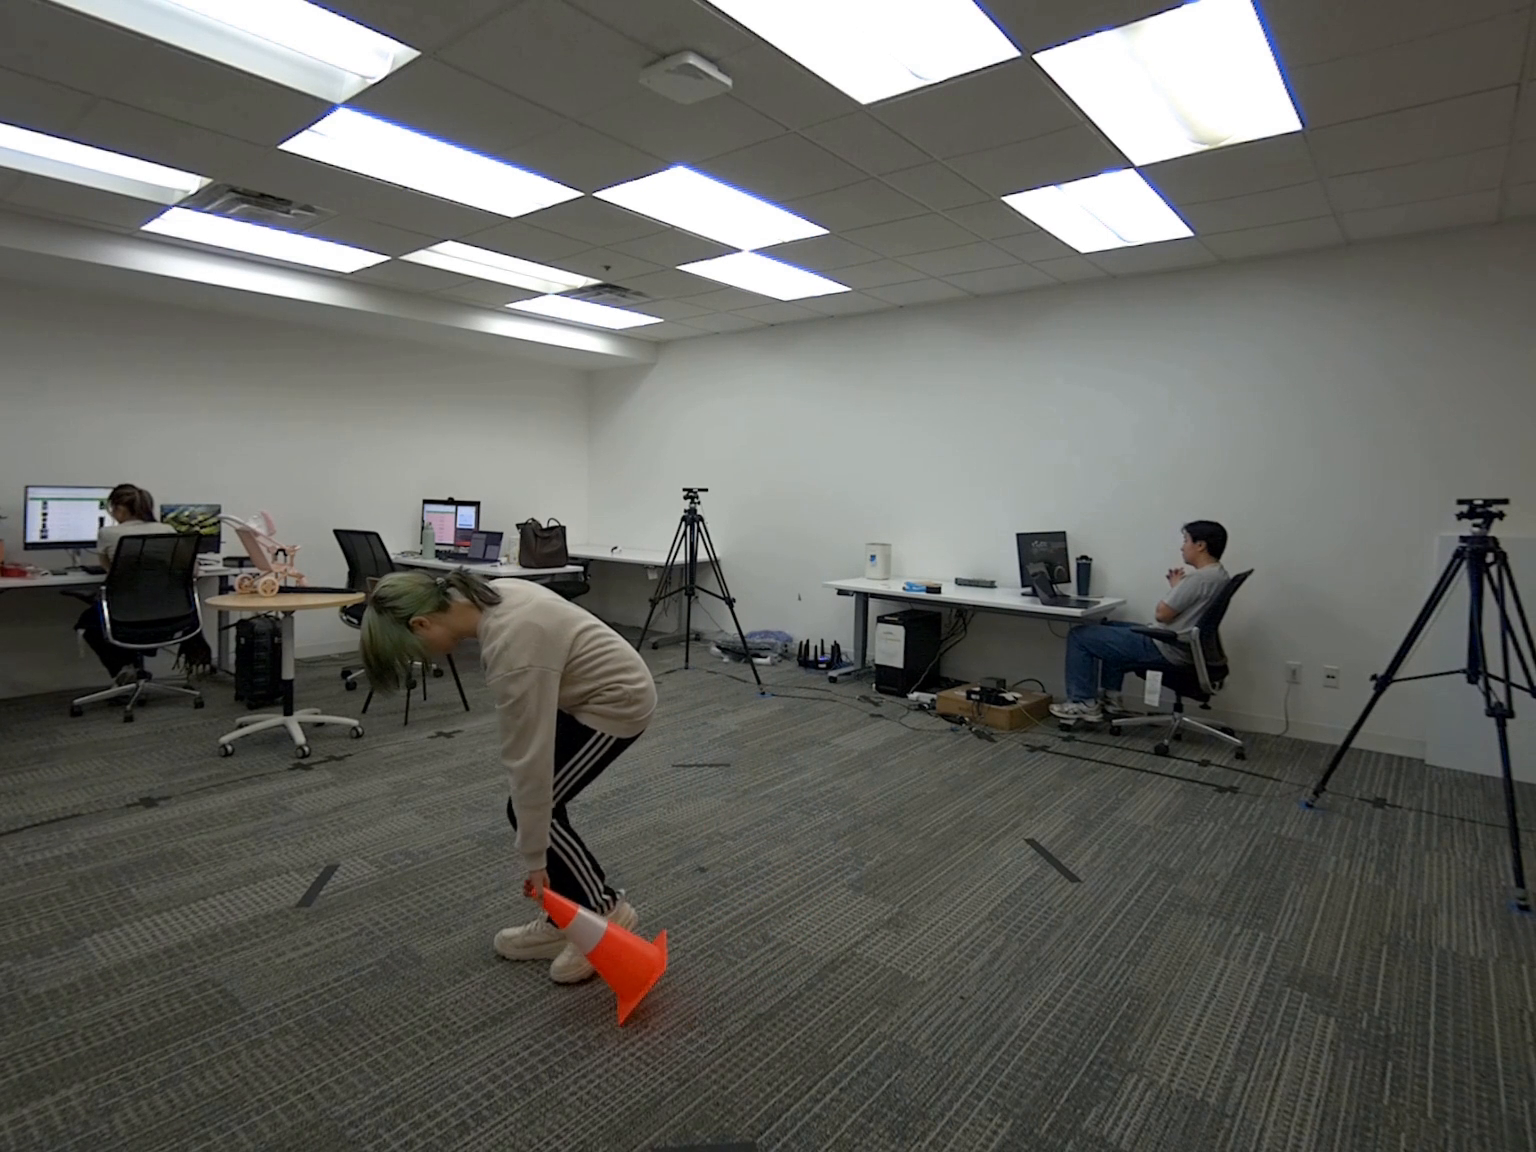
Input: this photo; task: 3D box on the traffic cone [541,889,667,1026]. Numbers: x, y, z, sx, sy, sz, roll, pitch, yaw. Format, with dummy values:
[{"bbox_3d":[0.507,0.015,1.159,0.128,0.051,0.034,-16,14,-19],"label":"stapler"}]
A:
[{"bbox_3d":[-0.481,0.952,2.259,0.379,0.203,0.207,40,3,-8],"label":"traffic cone"}]
